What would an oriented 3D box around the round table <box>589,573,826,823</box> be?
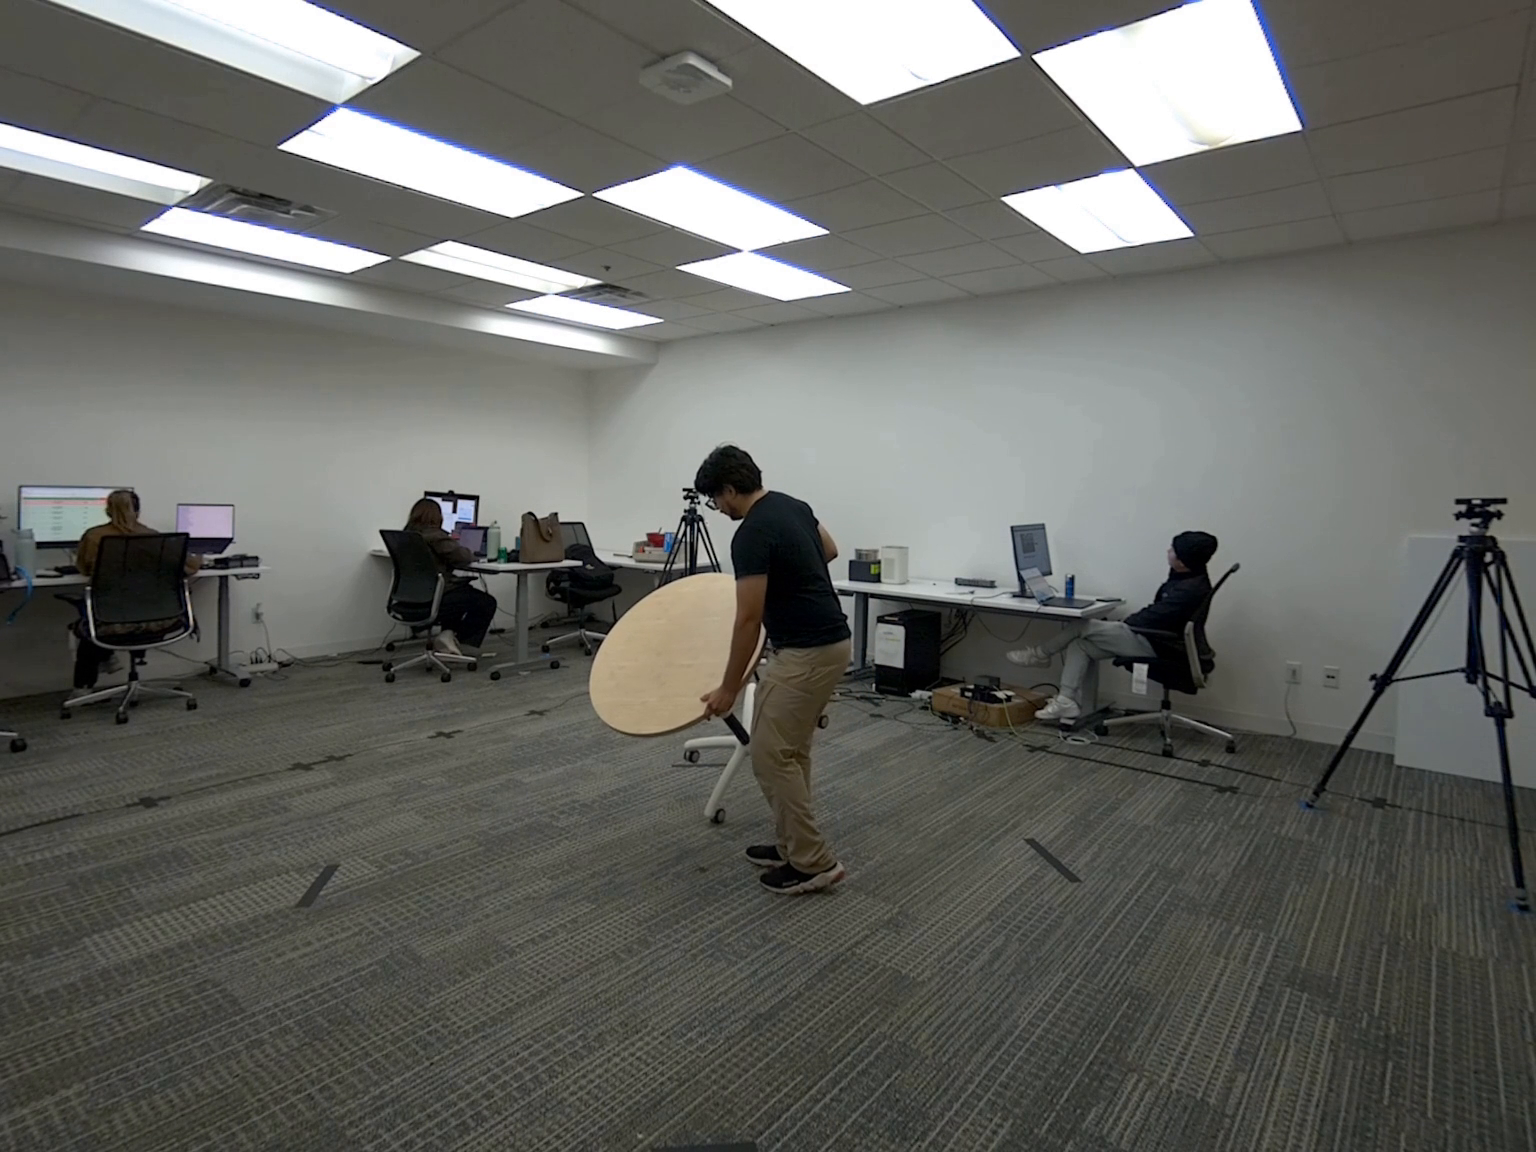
[{"bbox_3d":[-0.205,0.523,3.498,0.793,0.756,0.808,-20,39,15],"label":"round table"}]
